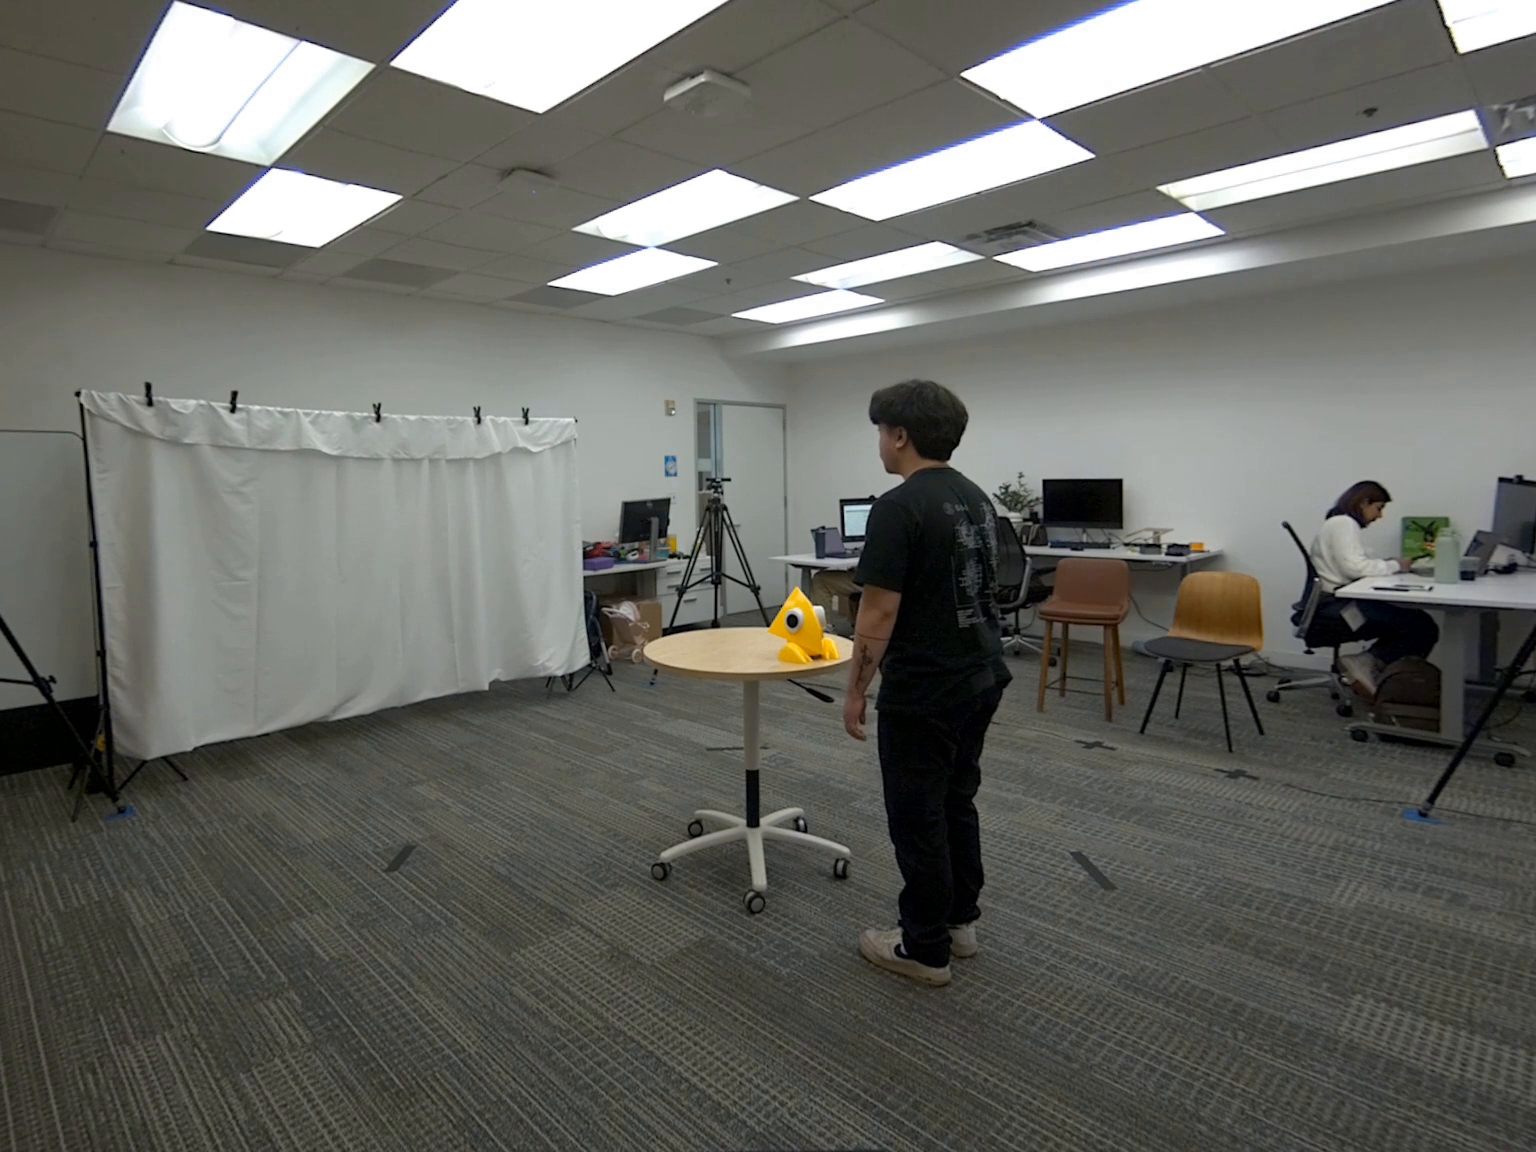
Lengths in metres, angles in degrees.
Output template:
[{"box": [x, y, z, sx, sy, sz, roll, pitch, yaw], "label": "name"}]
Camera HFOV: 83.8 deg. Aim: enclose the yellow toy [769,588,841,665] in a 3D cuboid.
[{"box": [0.135, 0.159, 2.881, 0.200, 0.230, 0.198, -3, 6, -29], "label": "yellow toy"}]
